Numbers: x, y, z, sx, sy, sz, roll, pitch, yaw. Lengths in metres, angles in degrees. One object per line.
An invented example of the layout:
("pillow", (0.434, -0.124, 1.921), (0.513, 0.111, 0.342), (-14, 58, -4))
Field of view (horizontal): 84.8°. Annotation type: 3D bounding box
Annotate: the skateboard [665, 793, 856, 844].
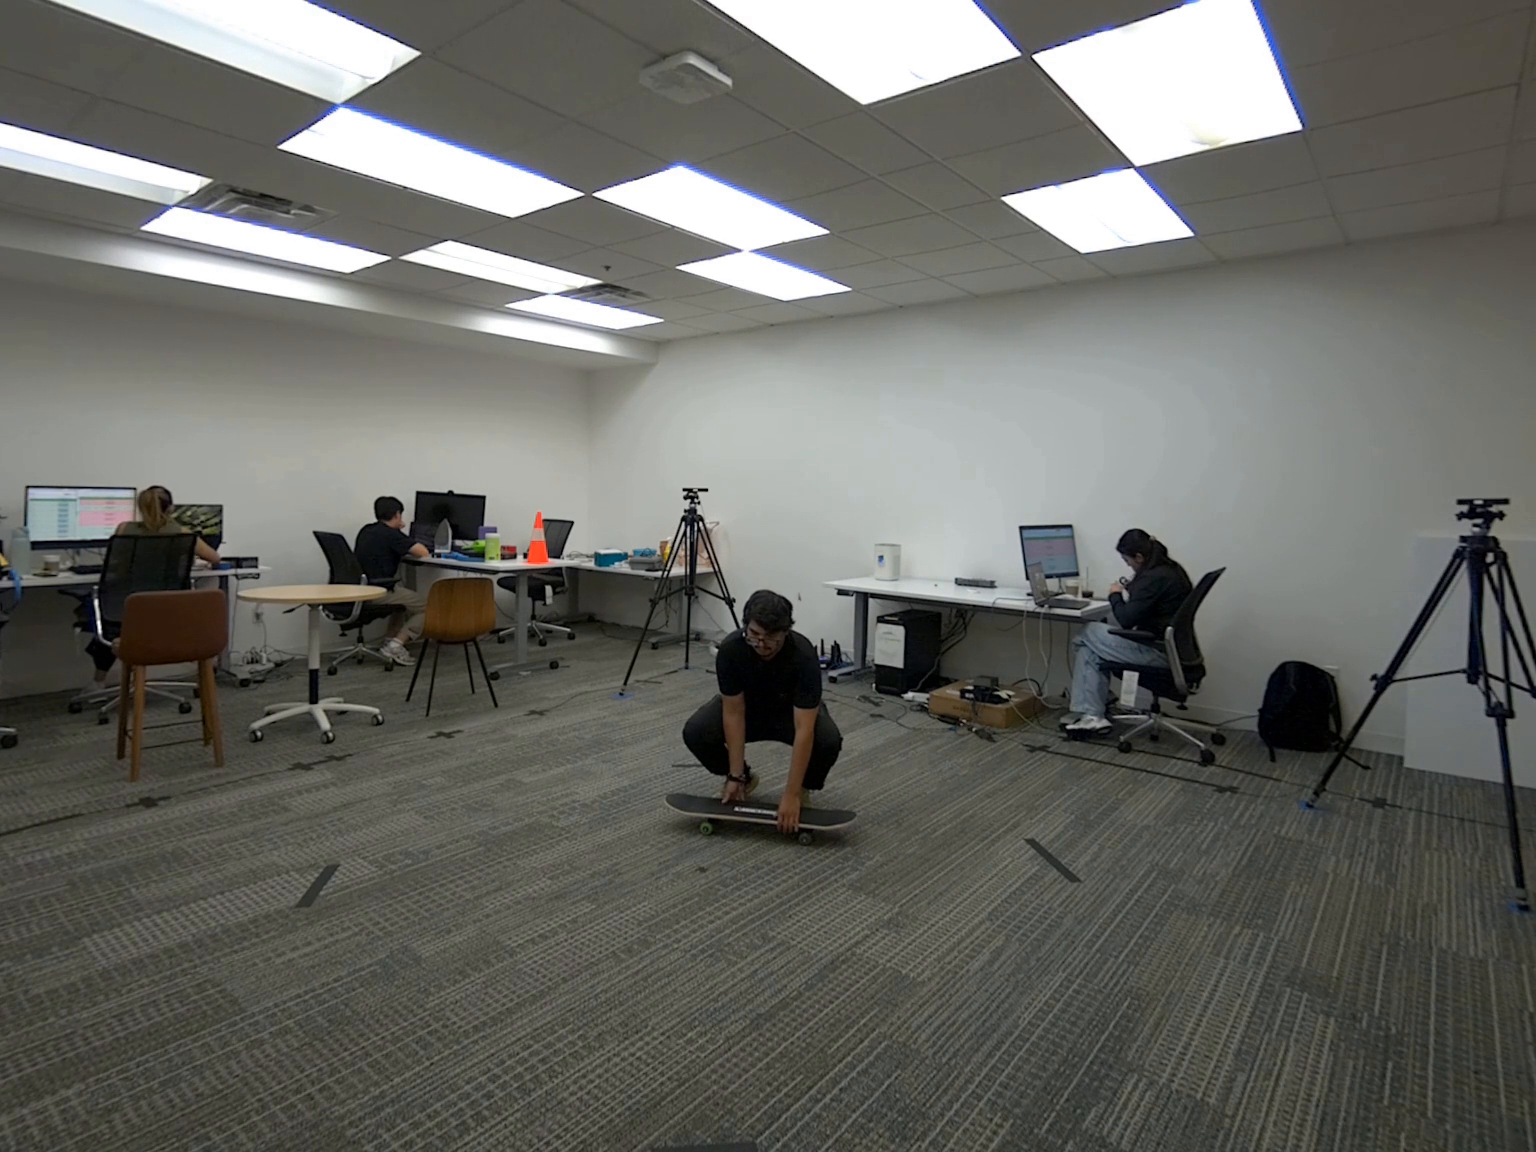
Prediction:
("skateboard", (-0.056, 0.984, 3.451), (0.794, 0.110, 0.192), (3, 5, 10))
